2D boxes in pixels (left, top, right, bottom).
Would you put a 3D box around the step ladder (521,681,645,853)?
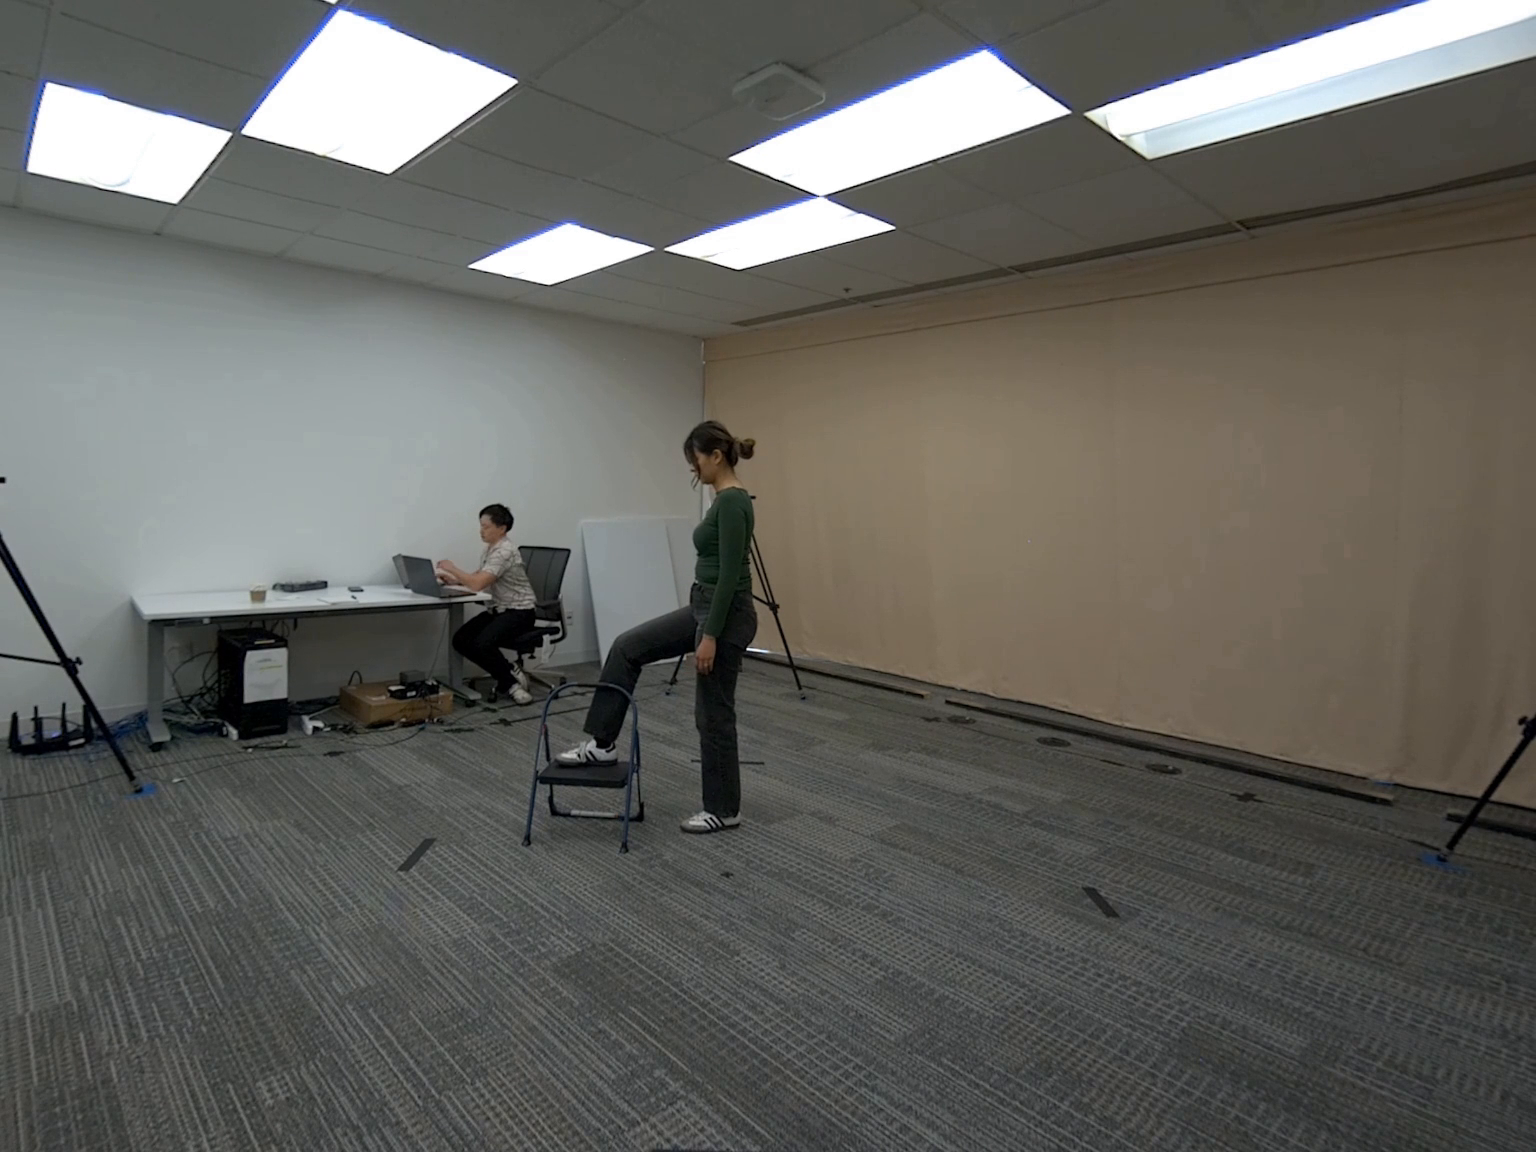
[{"bbox_3d":[-0.750,0.759,3.447,0.432,0.604,0.349,2,5,5],"label":"step ladder"}]
